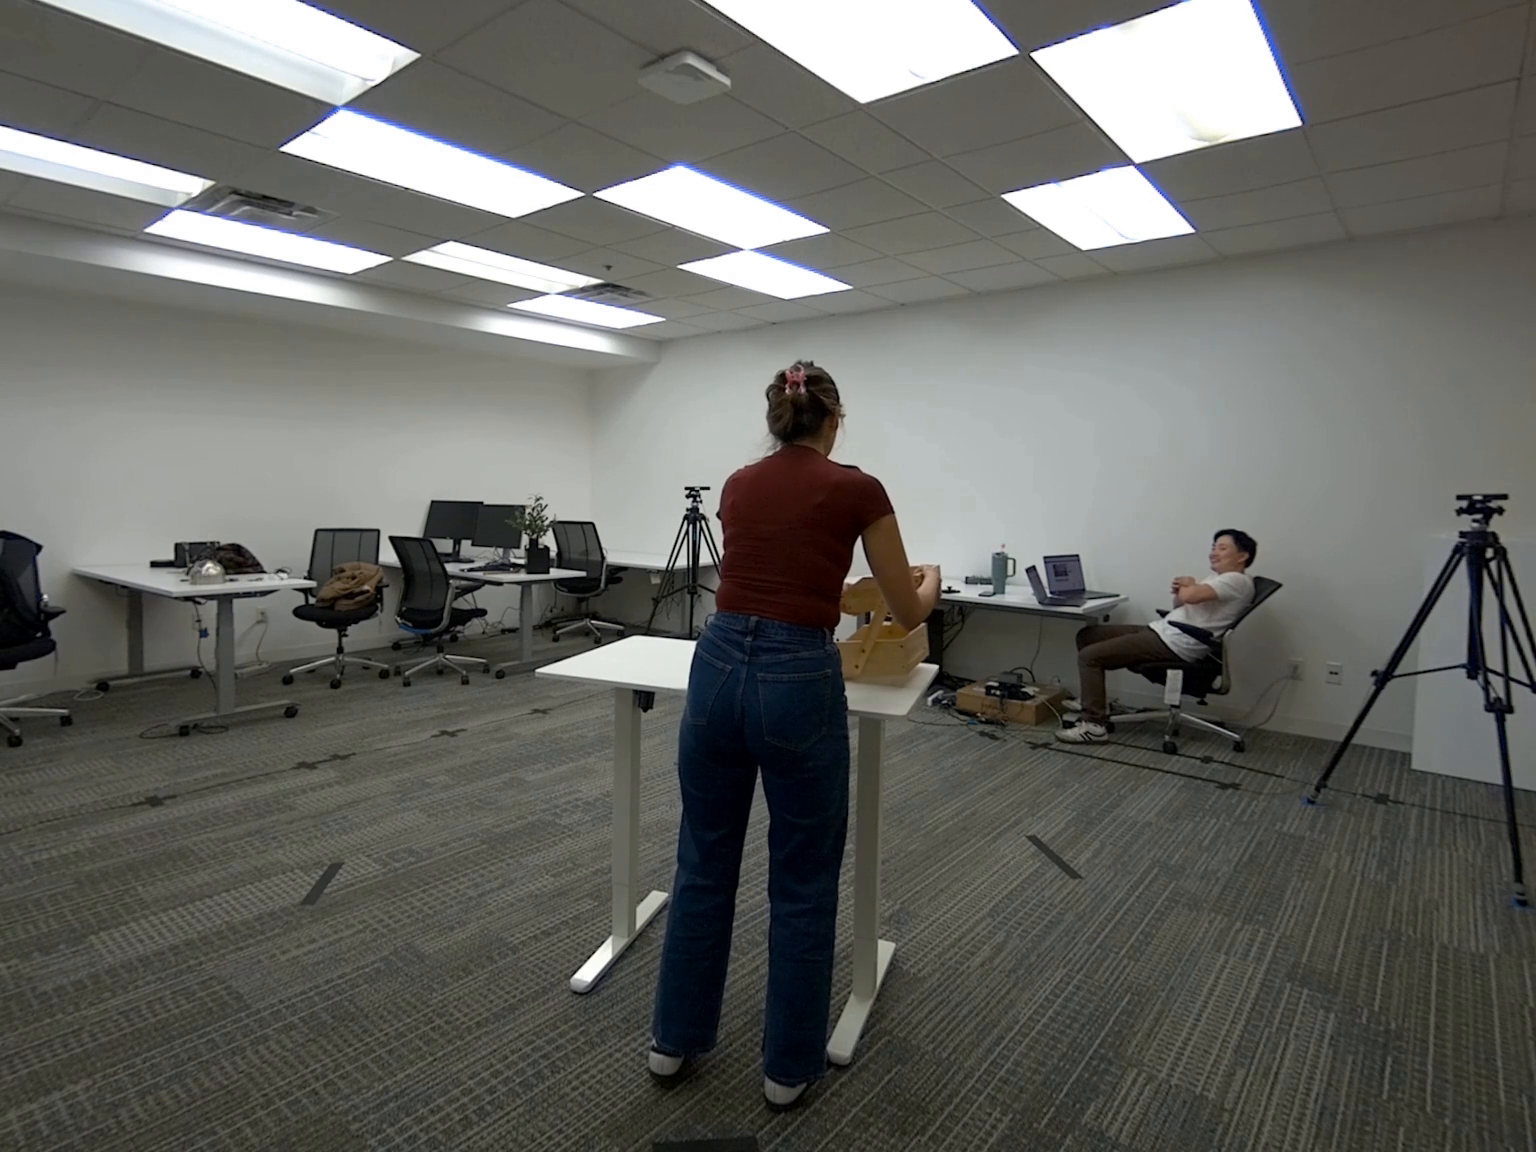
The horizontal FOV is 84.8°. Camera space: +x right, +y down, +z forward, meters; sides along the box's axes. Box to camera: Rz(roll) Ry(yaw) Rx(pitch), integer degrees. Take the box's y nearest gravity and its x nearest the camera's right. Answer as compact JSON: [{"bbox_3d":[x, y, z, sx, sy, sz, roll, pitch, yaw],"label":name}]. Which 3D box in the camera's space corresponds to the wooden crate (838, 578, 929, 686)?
[{"bbox_3d":[0.297,0.115,2.365,0.308,0.273,0.318,-4,3,22],"label":"wooden crate"}]
